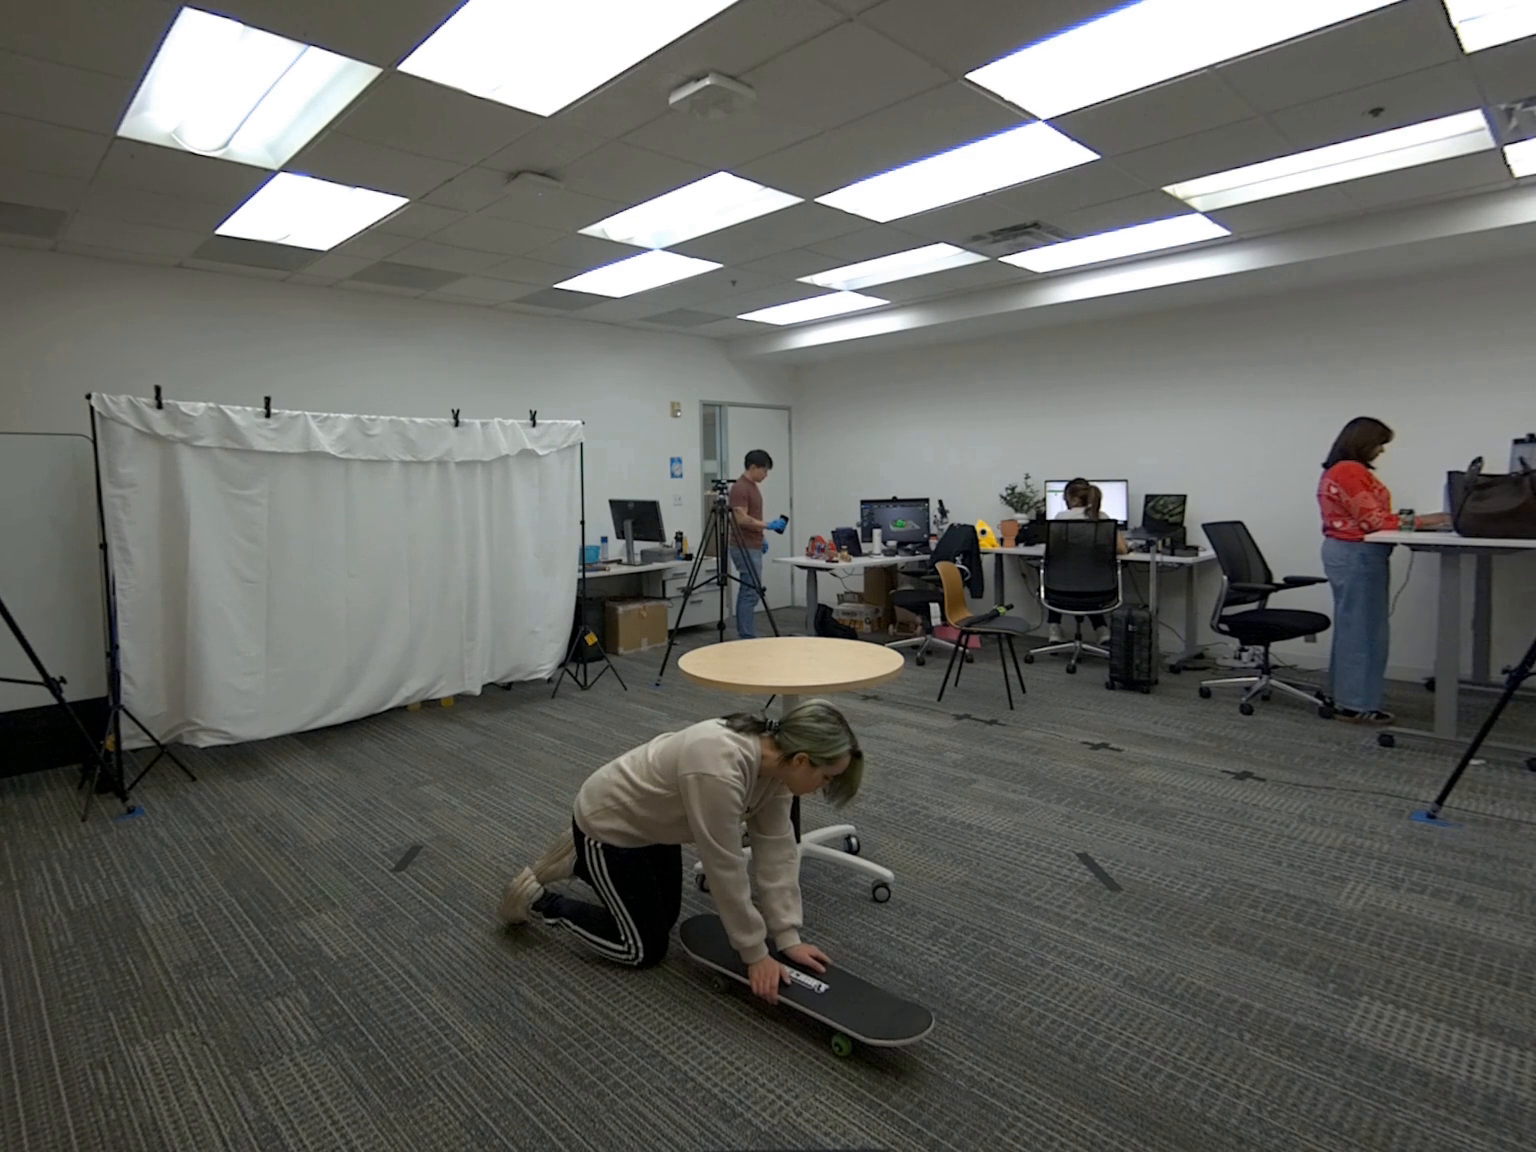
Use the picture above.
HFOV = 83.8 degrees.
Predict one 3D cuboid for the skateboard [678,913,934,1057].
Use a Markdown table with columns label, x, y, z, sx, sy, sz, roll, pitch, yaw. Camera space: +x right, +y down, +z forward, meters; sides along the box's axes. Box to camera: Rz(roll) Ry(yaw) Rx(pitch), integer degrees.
| label | x | y | z | sx | sy | sz | roll | pitch | yaw |
| --- | --- | --- | --- | --- | --- | --- | --- | --- | --- |
| skateboard | 0.074 | 1.087 | 2.257 | 0.809 | 0.110 | 0.189 | 4 | 9 | 41 |
